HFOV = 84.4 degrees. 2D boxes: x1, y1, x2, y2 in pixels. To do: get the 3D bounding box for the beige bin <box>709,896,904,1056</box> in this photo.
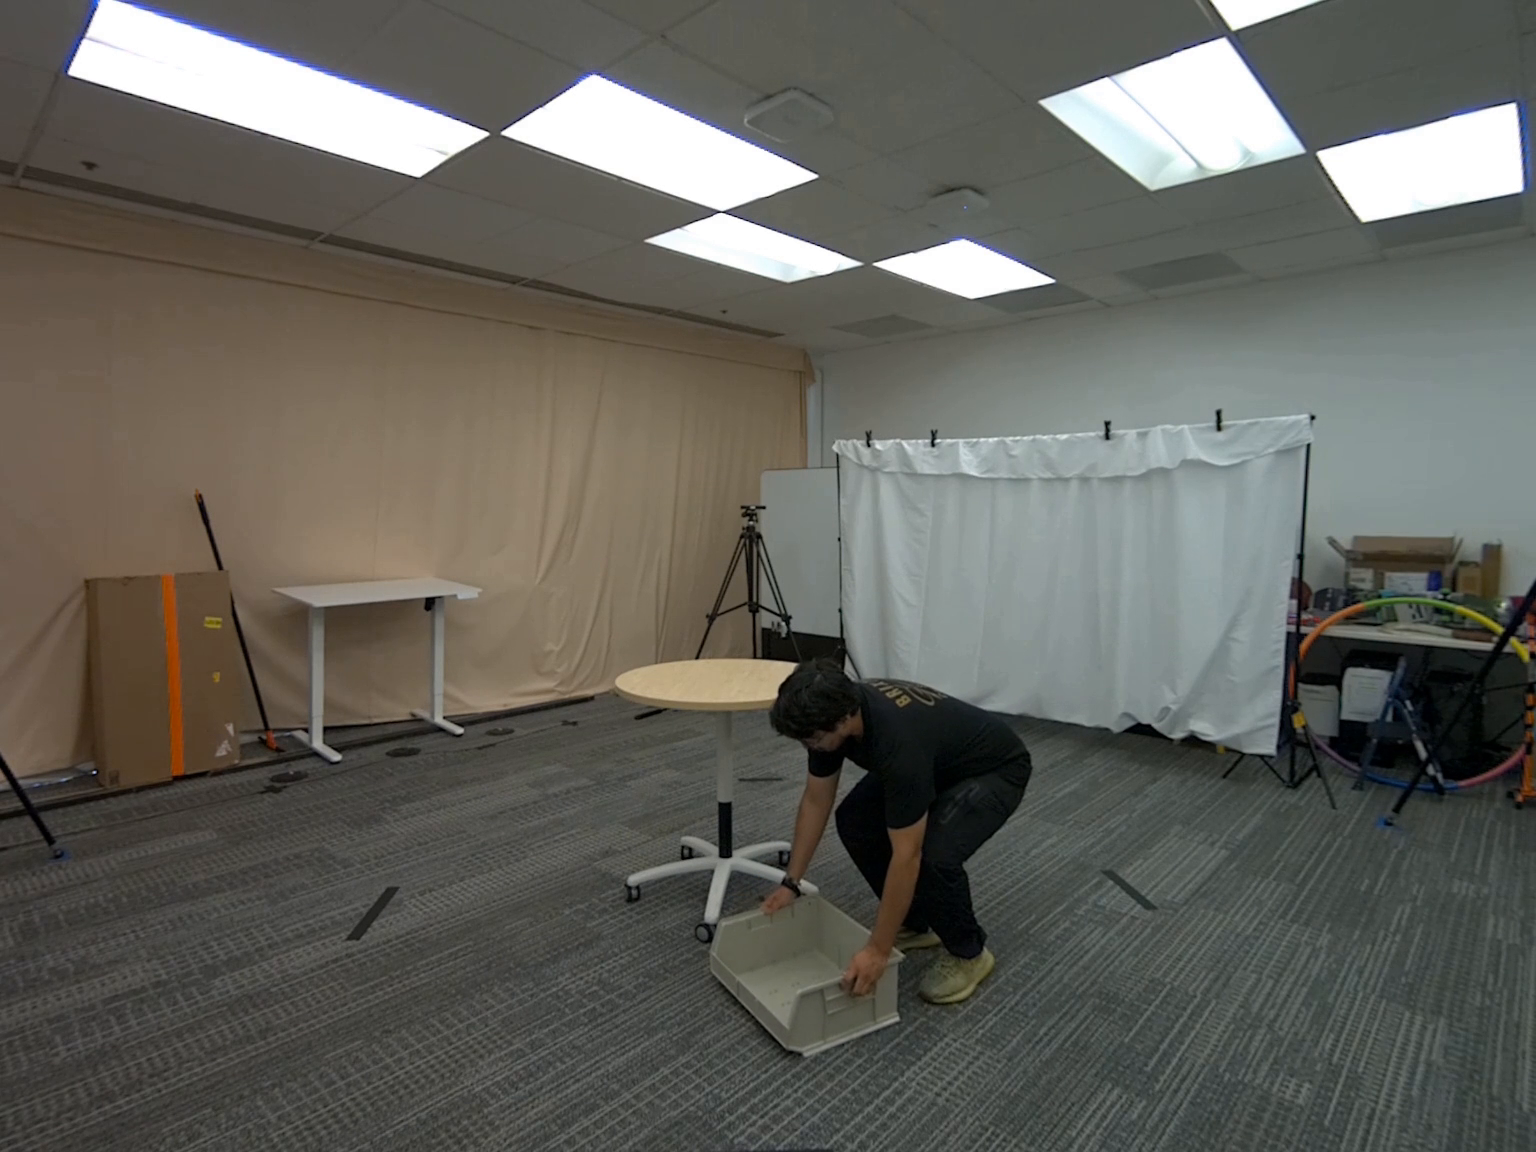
[{"bbox_3d":[0.108,1.105,2.359,0.367,0.188,0.435,-3,4,-31],"label":"beige bin"}]
